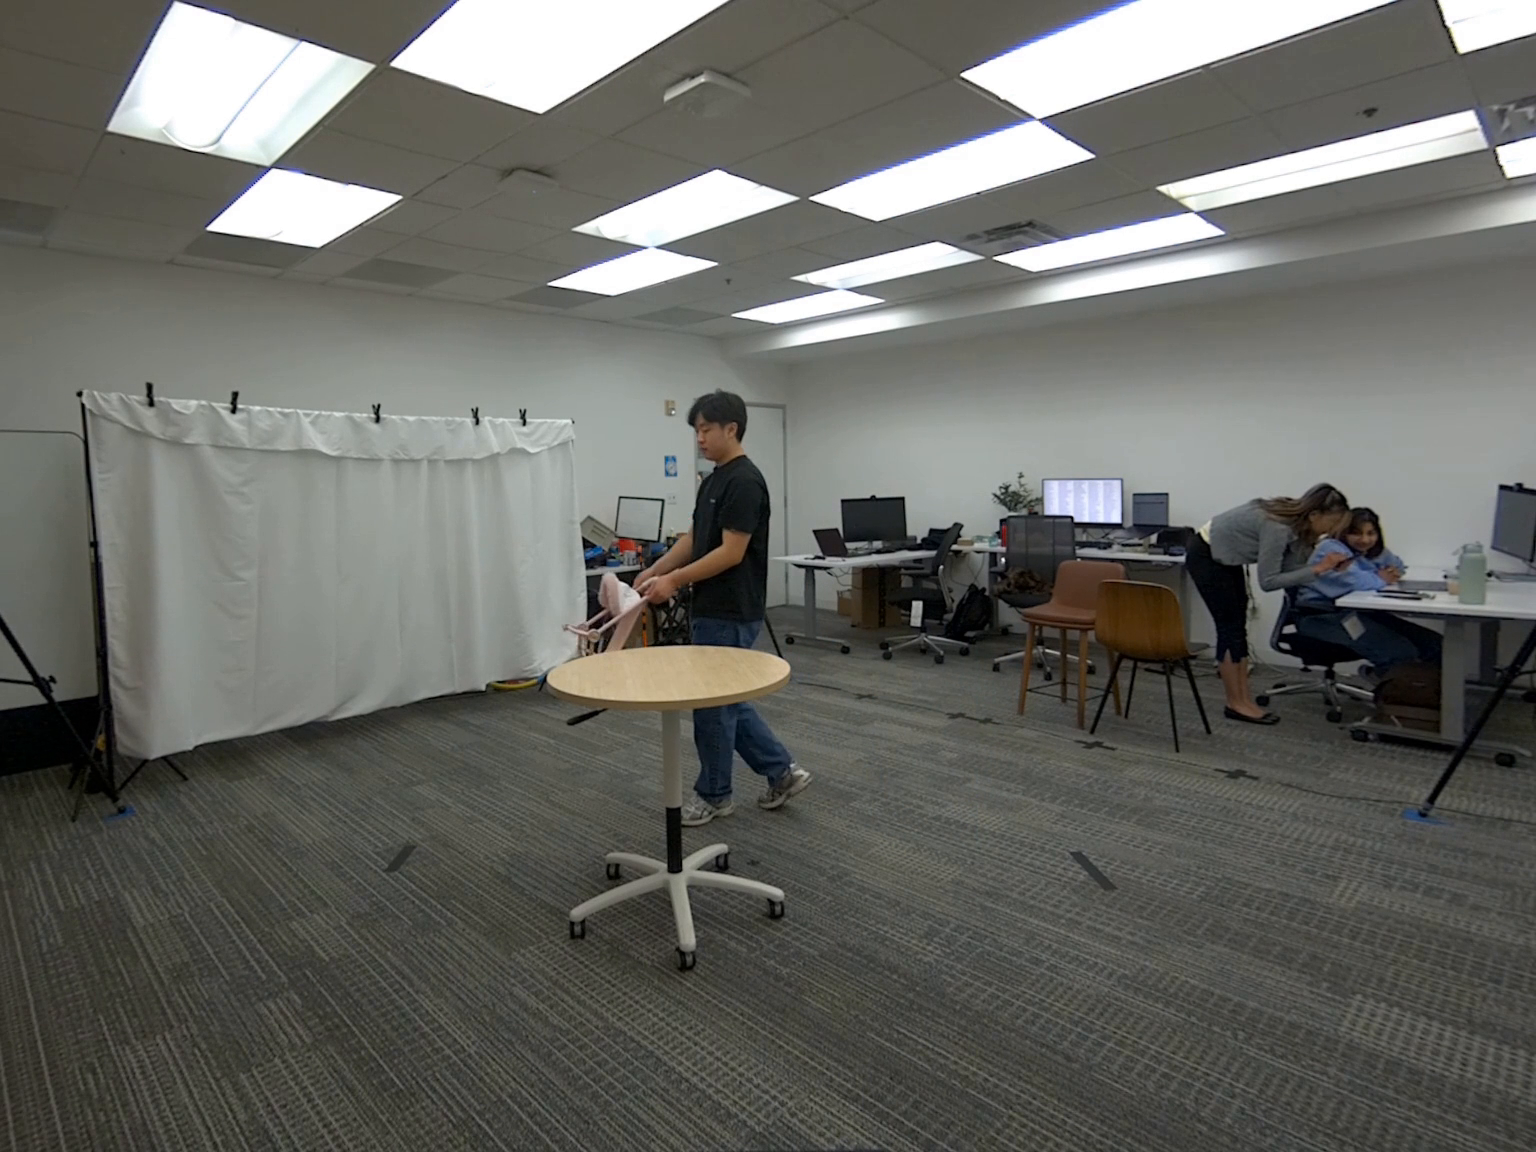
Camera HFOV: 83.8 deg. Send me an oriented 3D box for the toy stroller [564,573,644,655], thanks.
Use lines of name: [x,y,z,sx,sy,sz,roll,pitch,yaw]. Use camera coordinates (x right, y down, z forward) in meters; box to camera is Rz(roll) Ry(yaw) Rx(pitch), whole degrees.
toy stroller: [-0.633,0.229,3.353,0.334,0.535,0.287,15,-2,-19]
